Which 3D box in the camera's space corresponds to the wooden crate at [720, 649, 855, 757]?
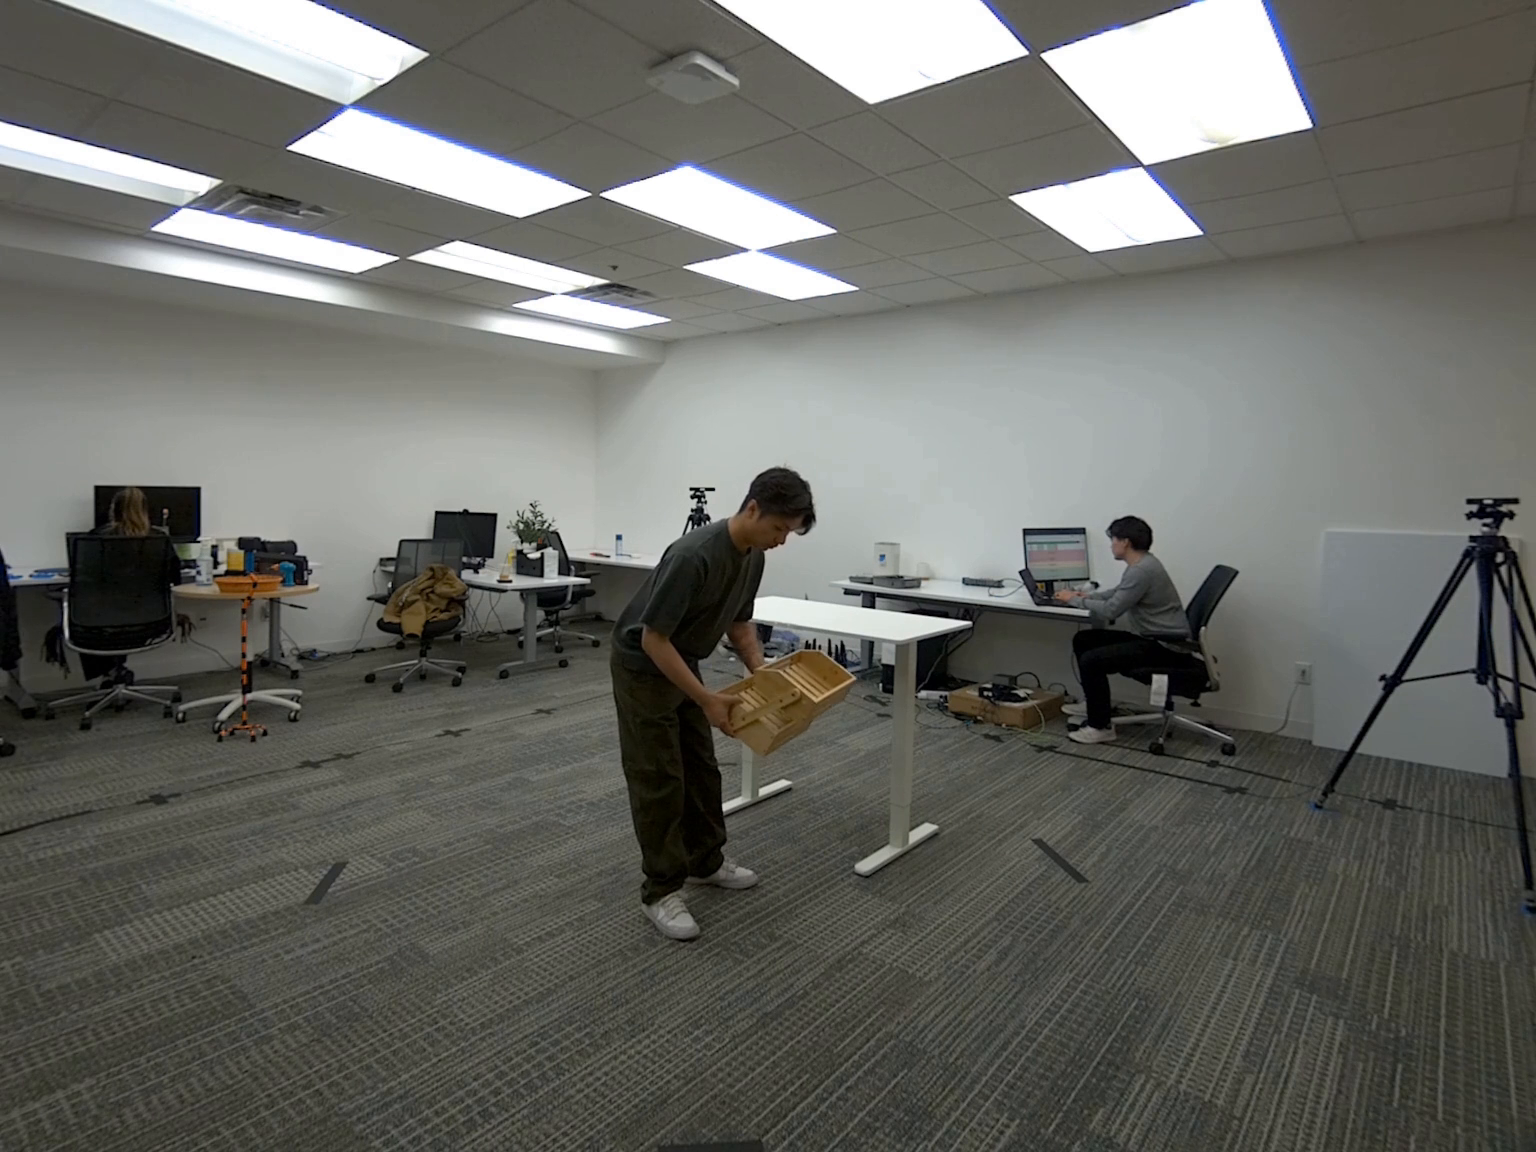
[{"bbox_3d":[0.033,0.352,2.646,0.311,0.271,0.317,35,23,22],"label":"wooden crate"}]
